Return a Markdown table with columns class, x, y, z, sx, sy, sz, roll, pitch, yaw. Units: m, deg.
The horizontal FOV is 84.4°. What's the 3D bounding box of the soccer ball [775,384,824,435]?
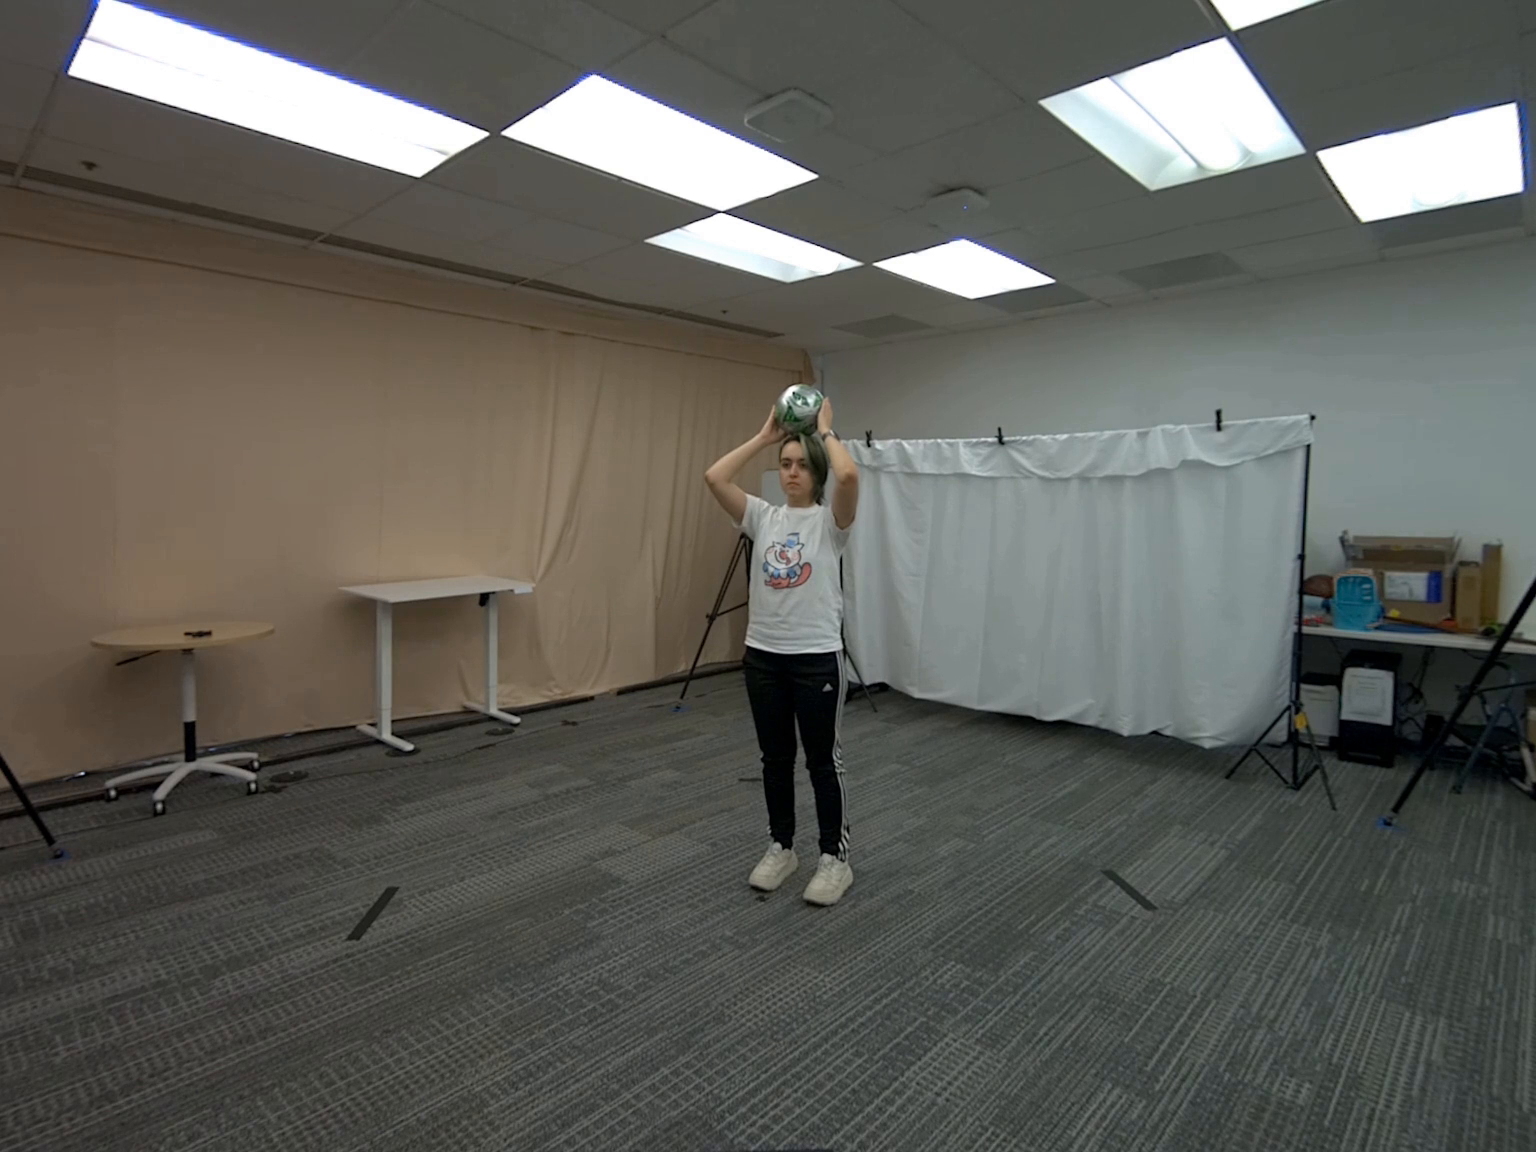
| class | x | y | z | sx | sy | sz | roll | pitch | yaw |
| --- | --- | --- | --- | --- | --- | --- | --- | --- | --- |
| soccer ball | 0.128 | -0.594 | 3.035 | 0.187 | 0.187 | 0.188 | 0 | 4 | -2 |
